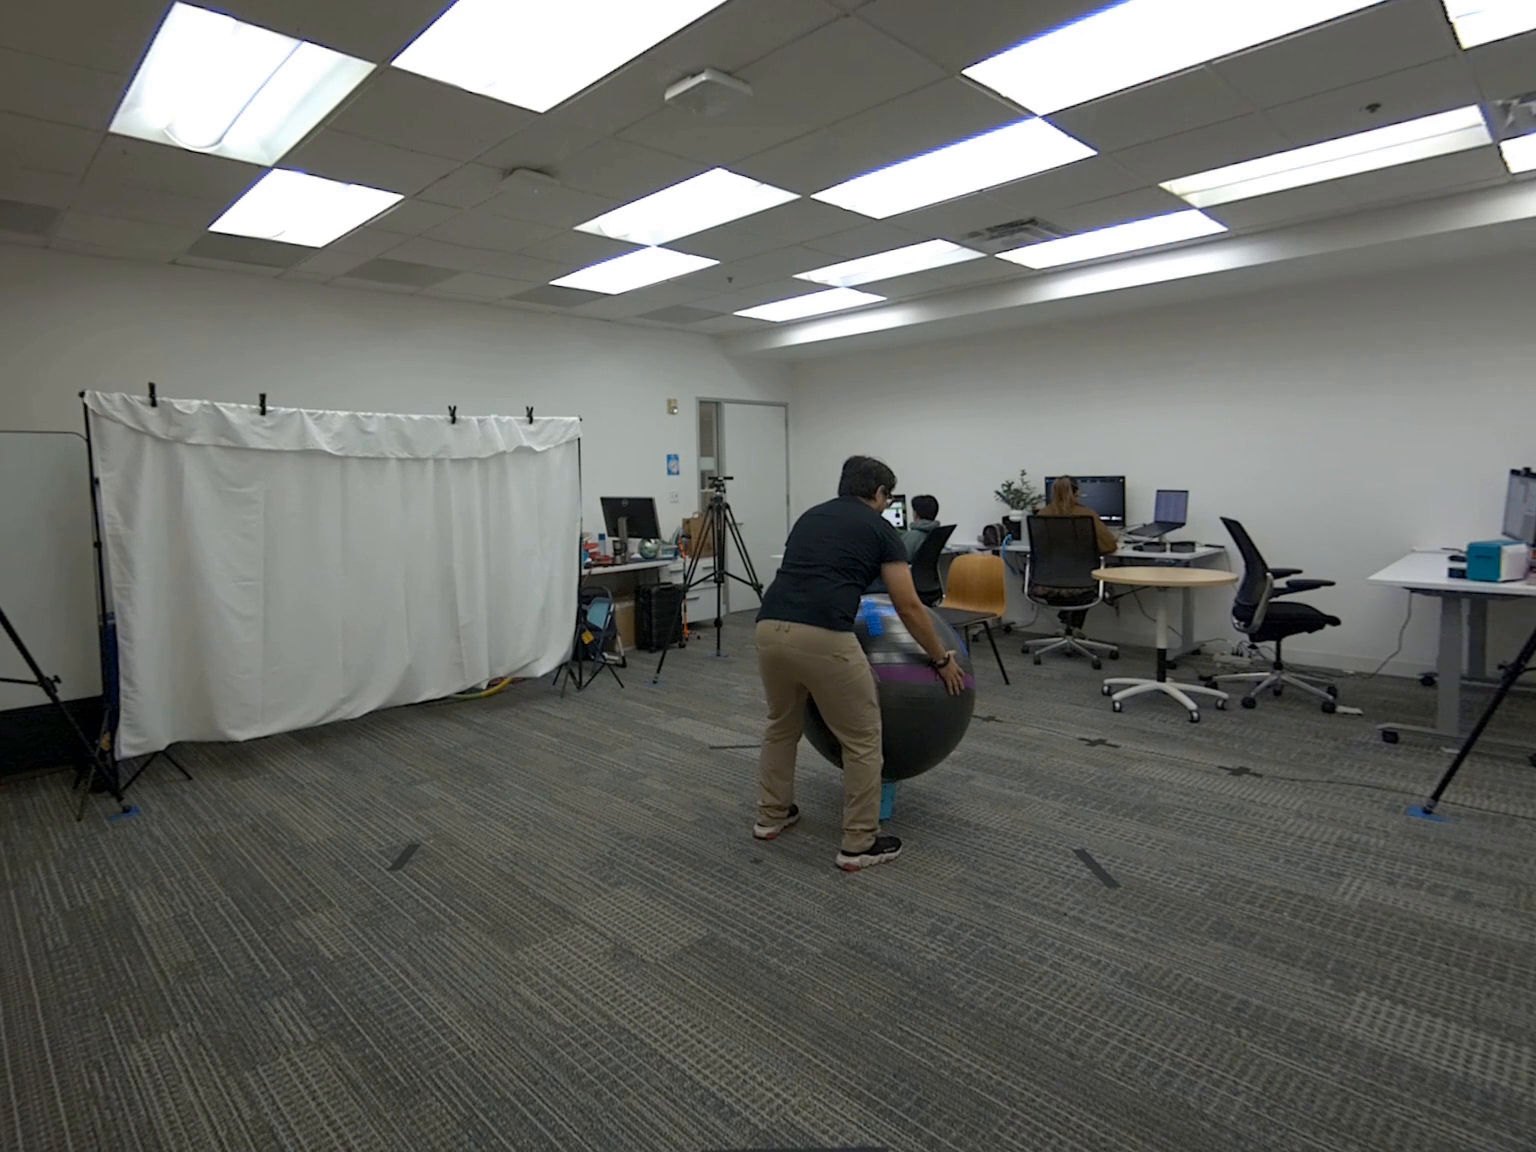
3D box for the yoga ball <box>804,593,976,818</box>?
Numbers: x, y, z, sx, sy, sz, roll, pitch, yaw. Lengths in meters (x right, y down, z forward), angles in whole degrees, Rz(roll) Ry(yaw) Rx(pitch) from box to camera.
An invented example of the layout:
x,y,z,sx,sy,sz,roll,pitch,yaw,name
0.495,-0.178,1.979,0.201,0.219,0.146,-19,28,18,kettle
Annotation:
x,y,z,sx,sy,sz,roll,pitch,yaw,name
0.468,0.461,3.551,0.757,0.755,0.762,-1,5,-2,yoga ball
